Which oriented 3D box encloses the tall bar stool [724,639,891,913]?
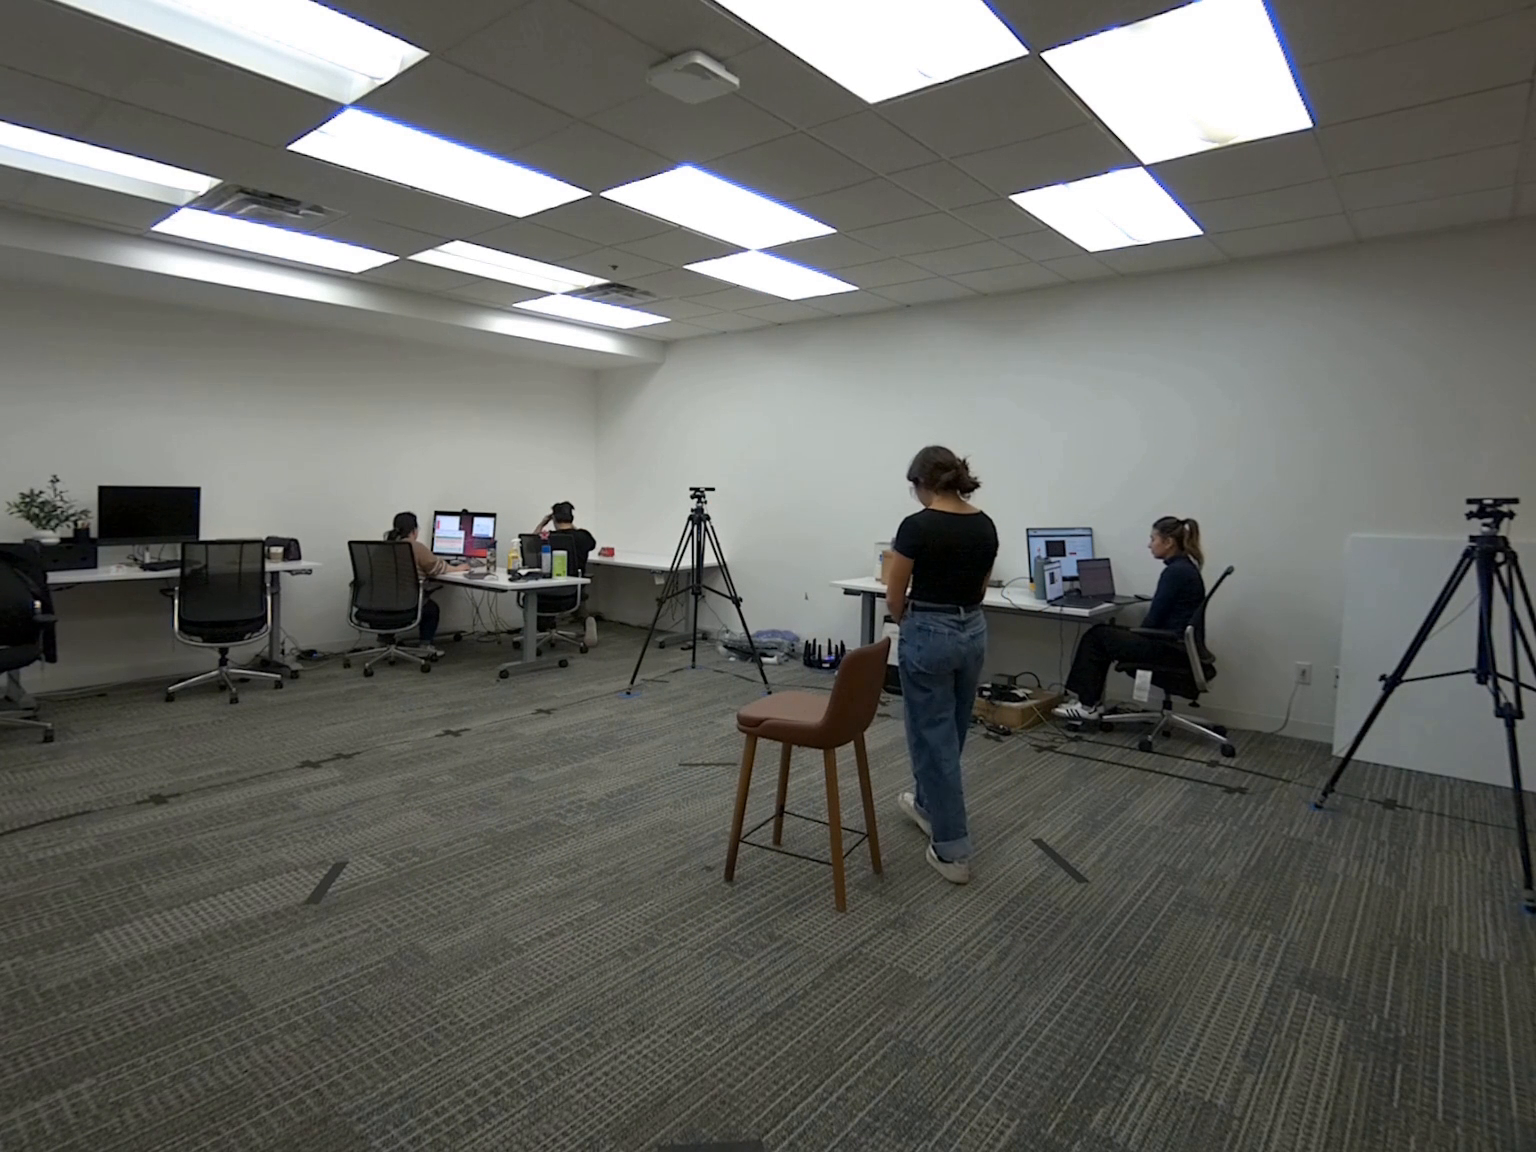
[{"bbox_3d":[0.142,0.648,3.045,0.481,0.887,0.445,5,4,29],"label":"tall bar stool"}]
